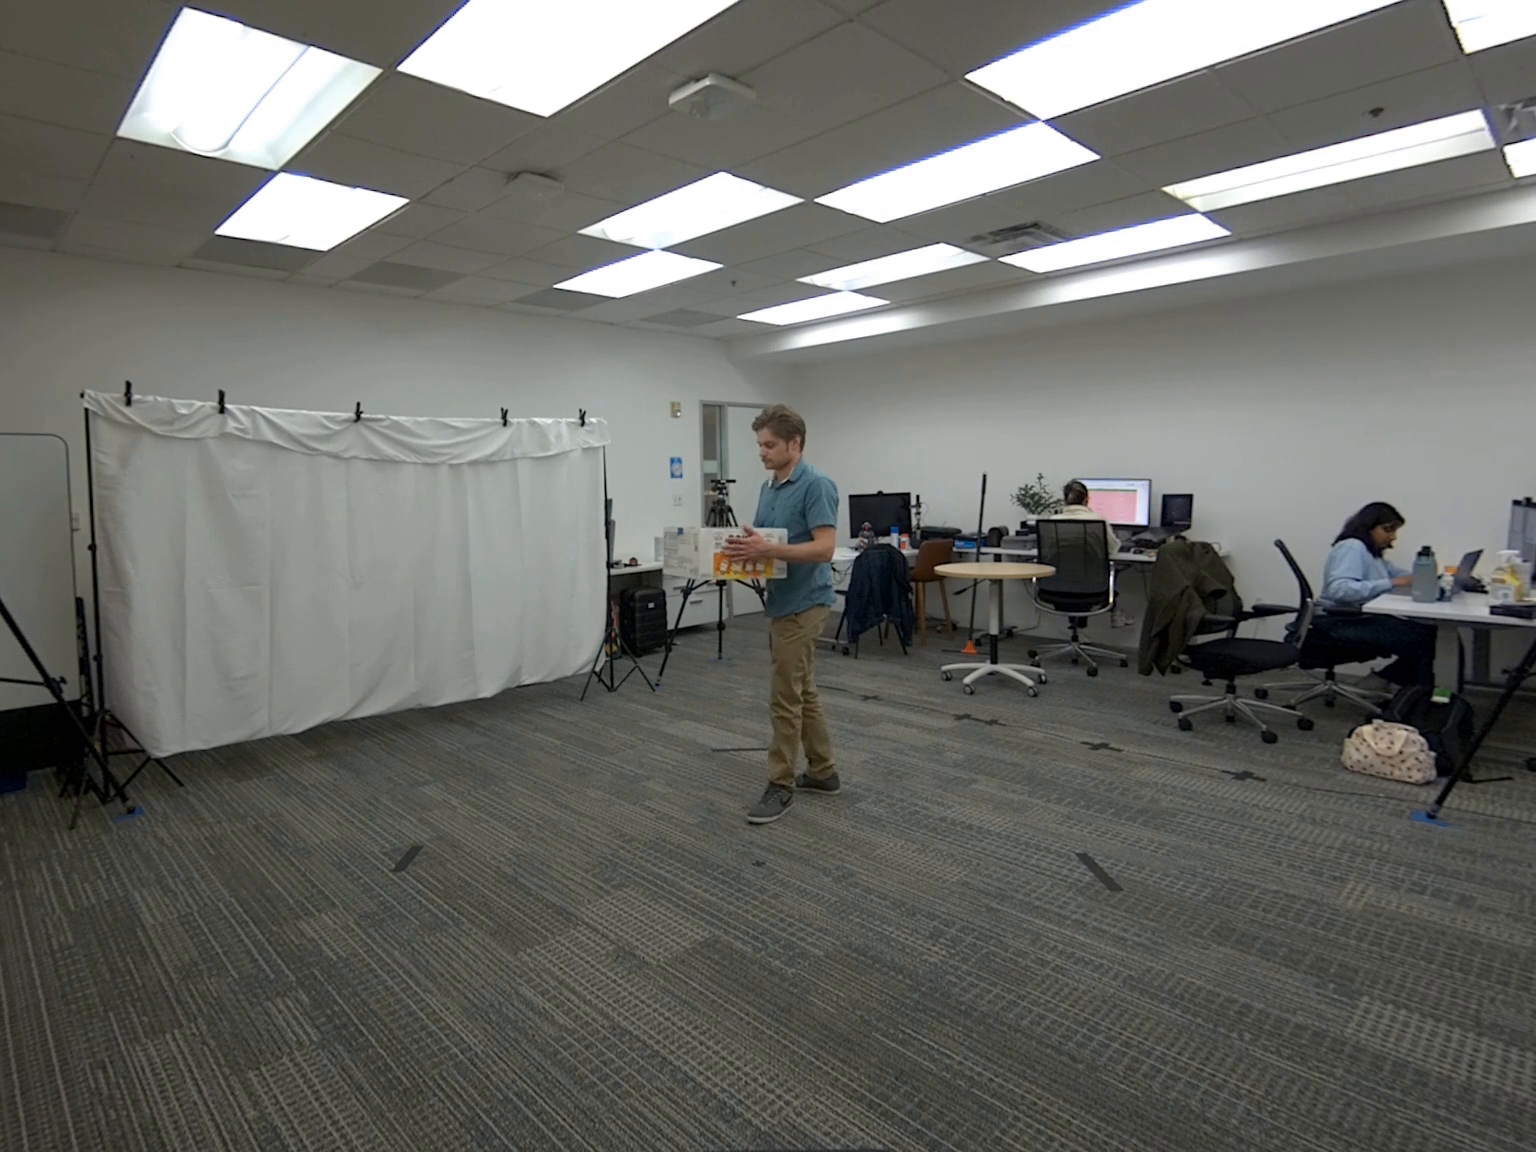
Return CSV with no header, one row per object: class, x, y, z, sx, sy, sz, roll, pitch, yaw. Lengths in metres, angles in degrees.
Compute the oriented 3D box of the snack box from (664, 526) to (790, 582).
snack box,-0.173,-0.102,3.543,0.395,0.205,0.349,-2,4,-31
